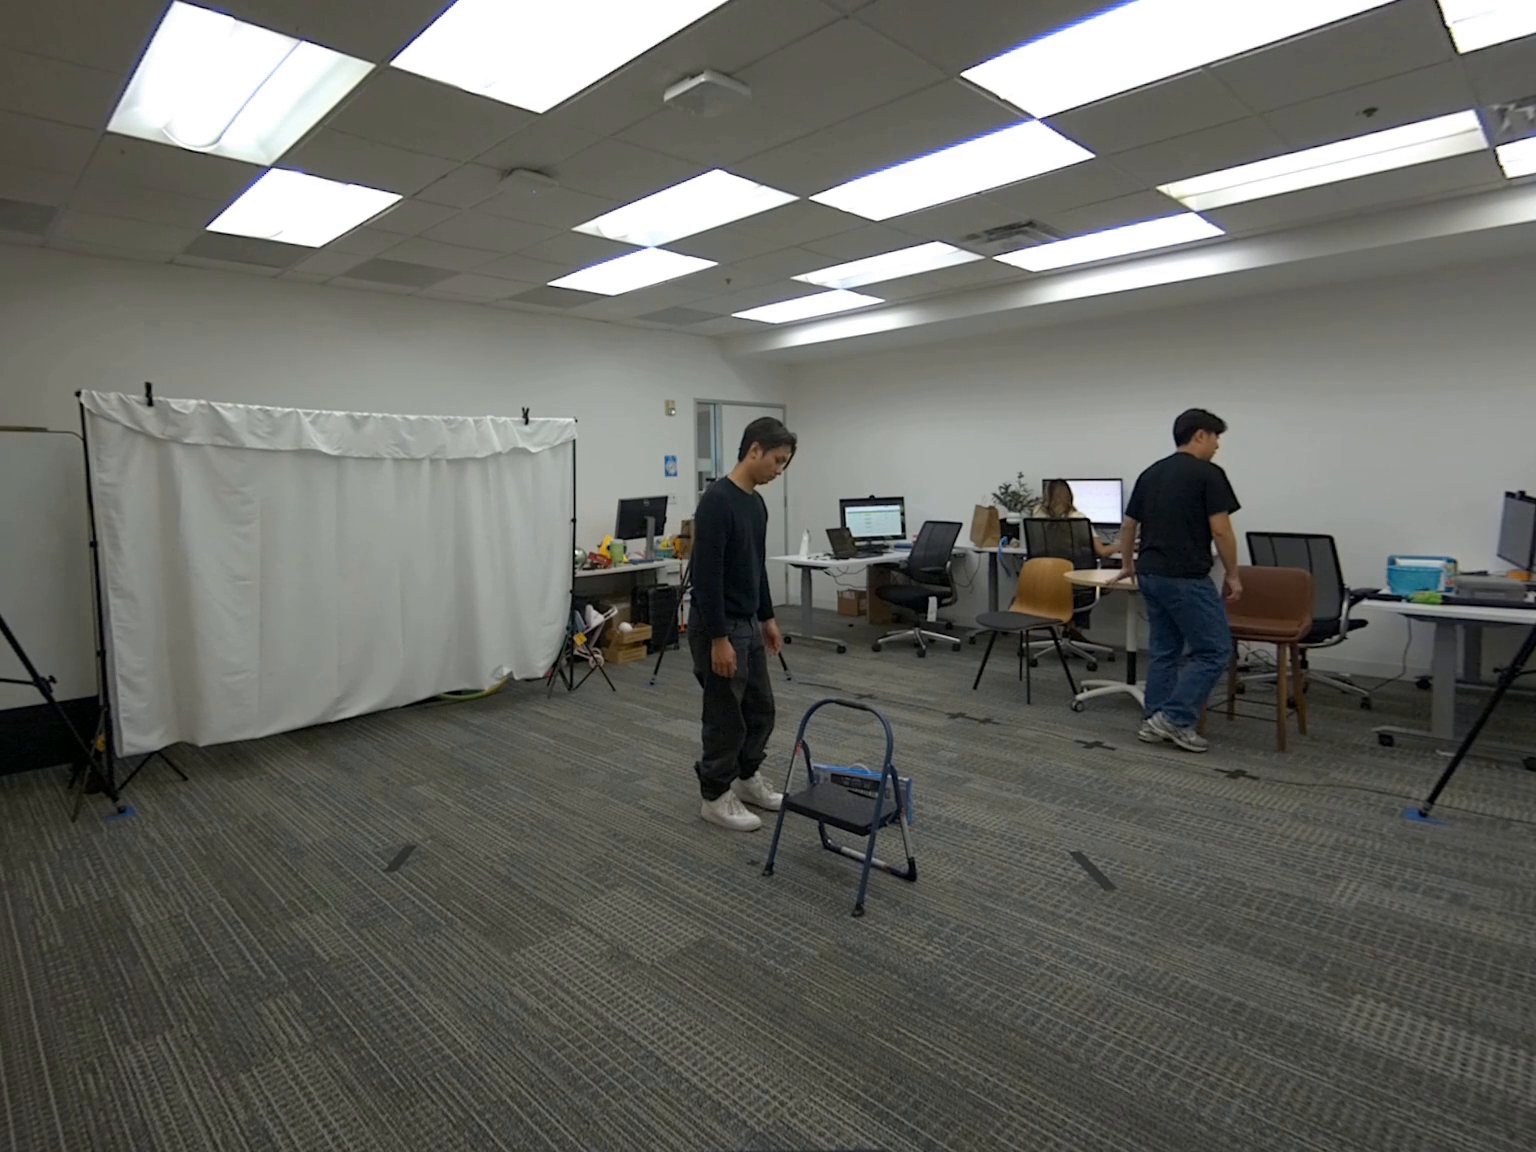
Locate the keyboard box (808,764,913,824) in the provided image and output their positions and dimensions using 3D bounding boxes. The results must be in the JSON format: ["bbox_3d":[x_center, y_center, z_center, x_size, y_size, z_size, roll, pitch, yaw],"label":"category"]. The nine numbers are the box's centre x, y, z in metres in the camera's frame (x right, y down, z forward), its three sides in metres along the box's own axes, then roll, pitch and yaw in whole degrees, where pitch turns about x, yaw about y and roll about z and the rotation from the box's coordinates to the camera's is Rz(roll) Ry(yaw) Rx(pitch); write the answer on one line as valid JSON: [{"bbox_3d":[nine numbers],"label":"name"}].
[{"bbox_3d":[0.377,0.895,3.539,0.448,0.176,0.057,3,-2,29],"label":"keyboard box"}]
